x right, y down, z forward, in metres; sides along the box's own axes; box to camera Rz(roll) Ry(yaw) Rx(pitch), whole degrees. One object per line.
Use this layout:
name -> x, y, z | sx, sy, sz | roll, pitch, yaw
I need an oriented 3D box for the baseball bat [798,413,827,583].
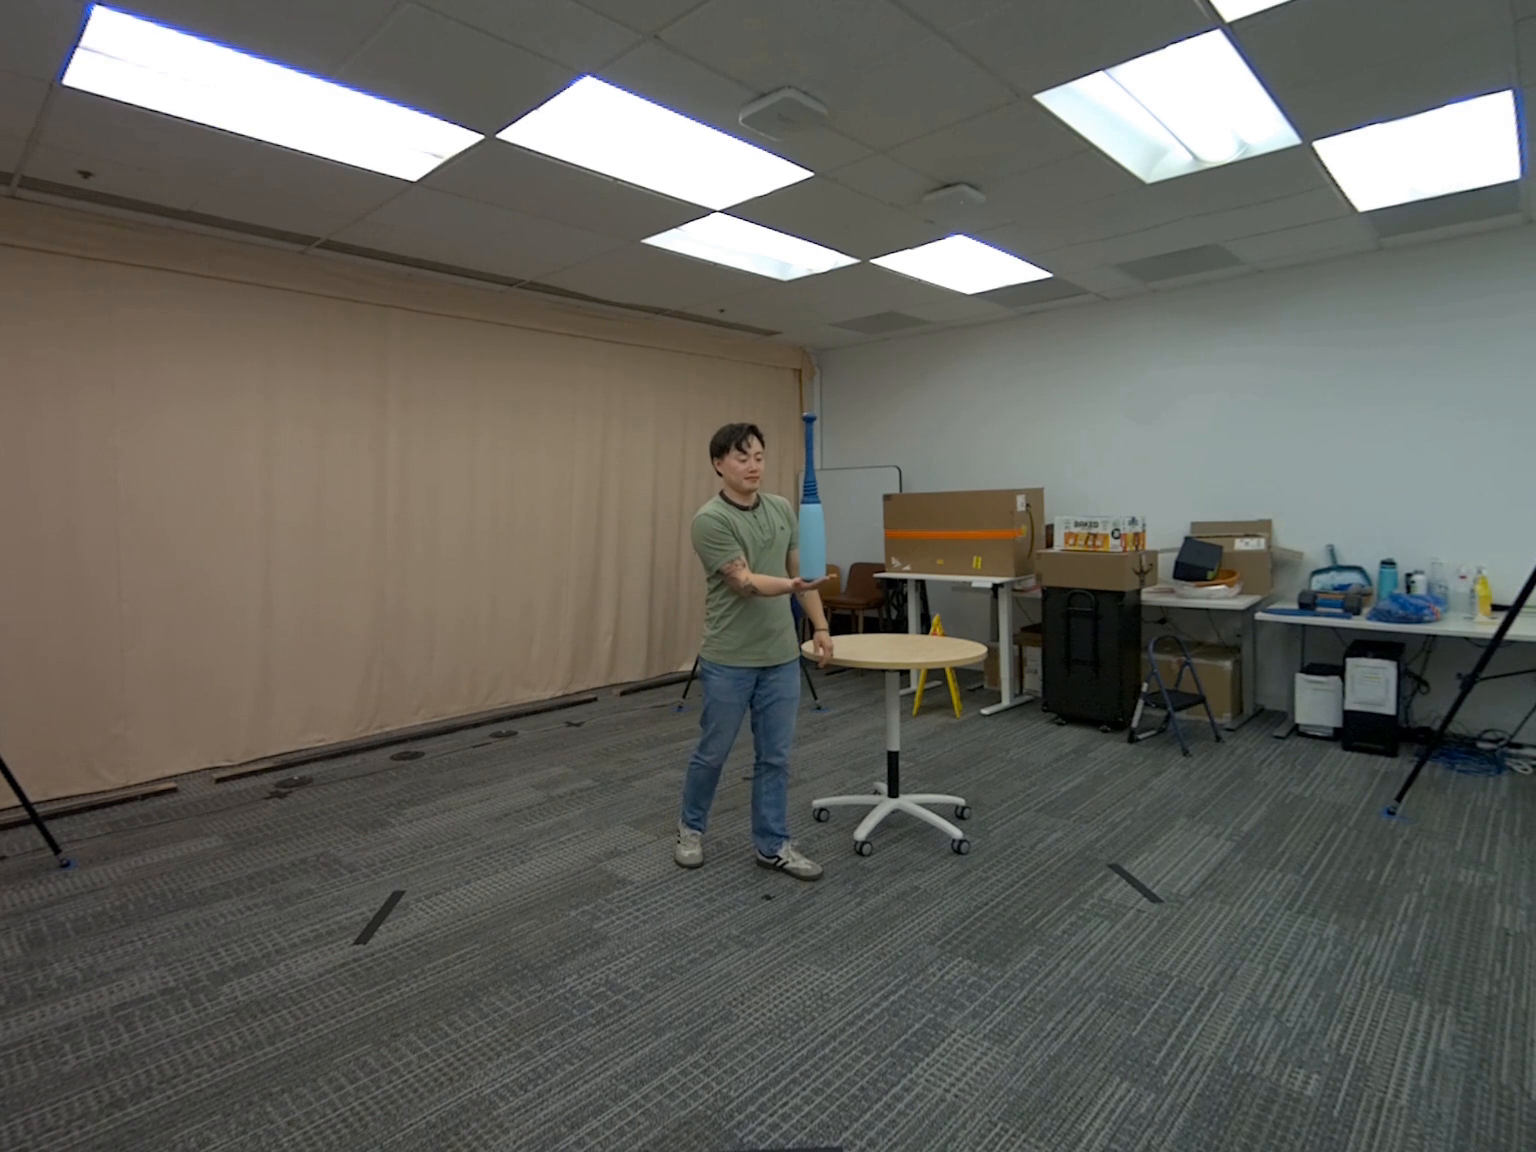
baseball bat -> 0.145, -0.254, 2.730 | 0.089, 0.542, 0.089 | -1, 3, -2
